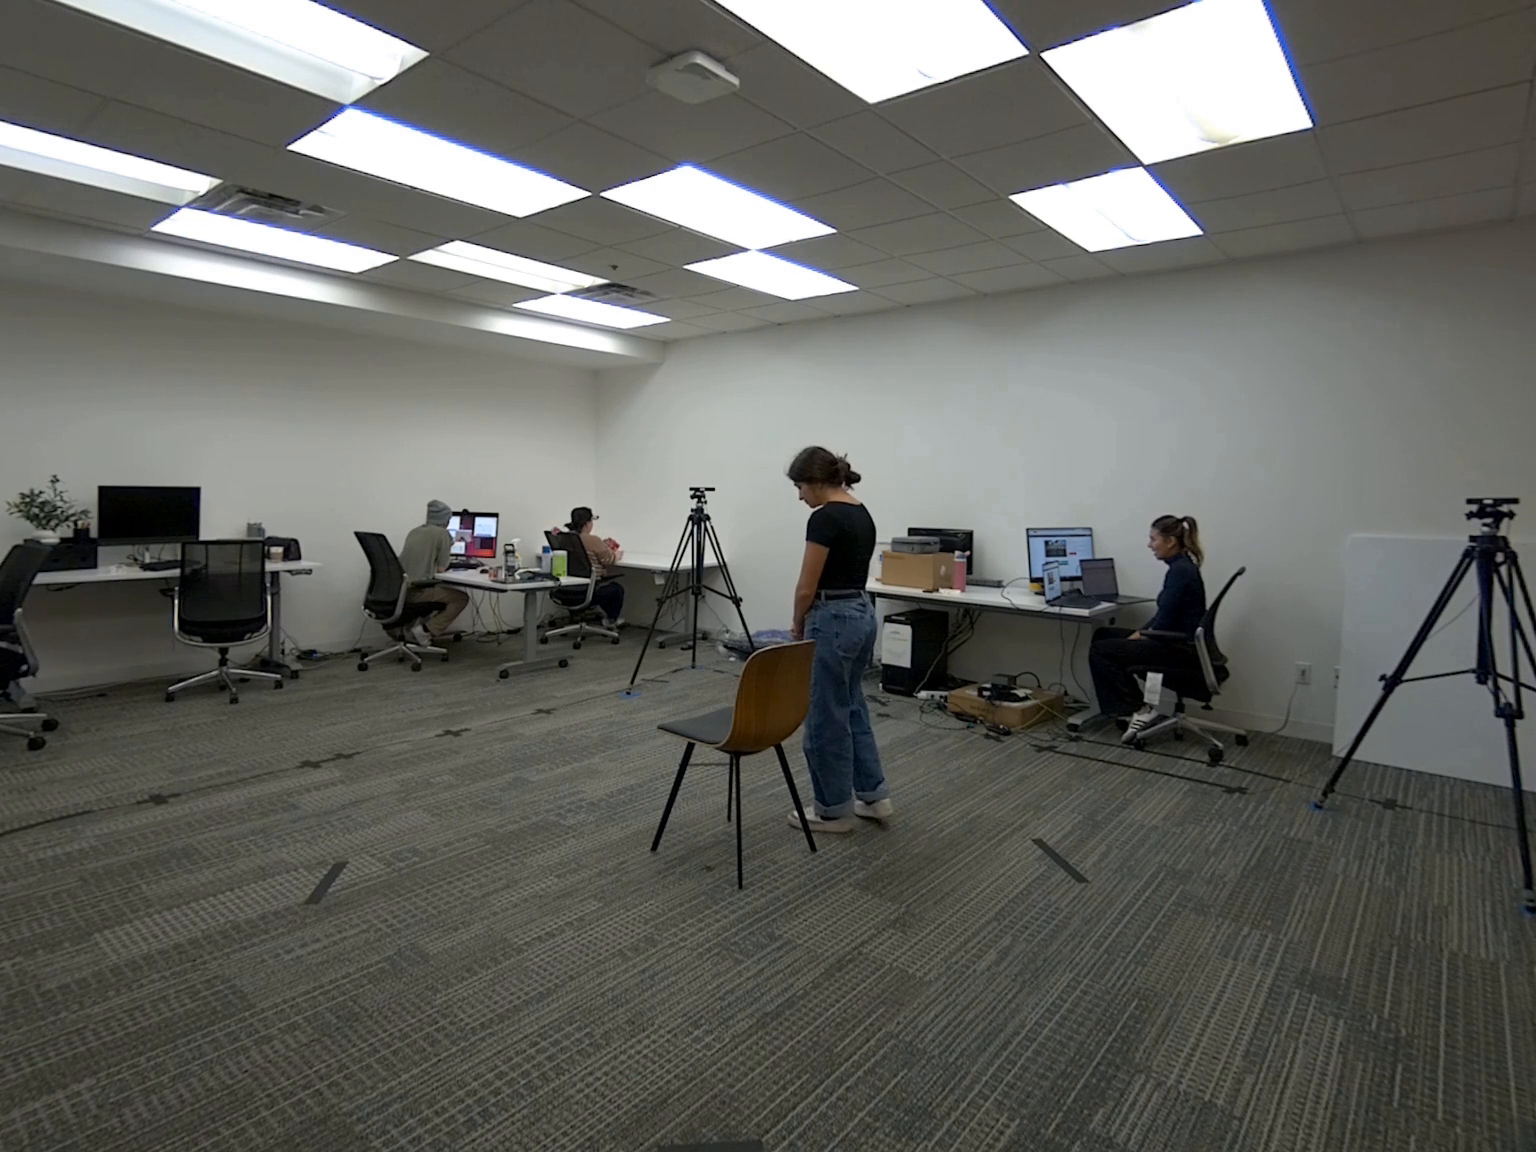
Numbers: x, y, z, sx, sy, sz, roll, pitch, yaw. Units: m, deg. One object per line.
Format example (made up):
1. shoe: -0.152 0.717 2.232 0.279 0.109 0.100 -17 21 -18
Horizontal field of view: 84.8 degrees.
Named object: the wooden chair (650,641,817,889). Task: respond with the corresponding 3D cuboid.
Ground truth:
1. wooden chair: -0.136 0.631 3.237 0.542 0.873 0.463 9 7 40
